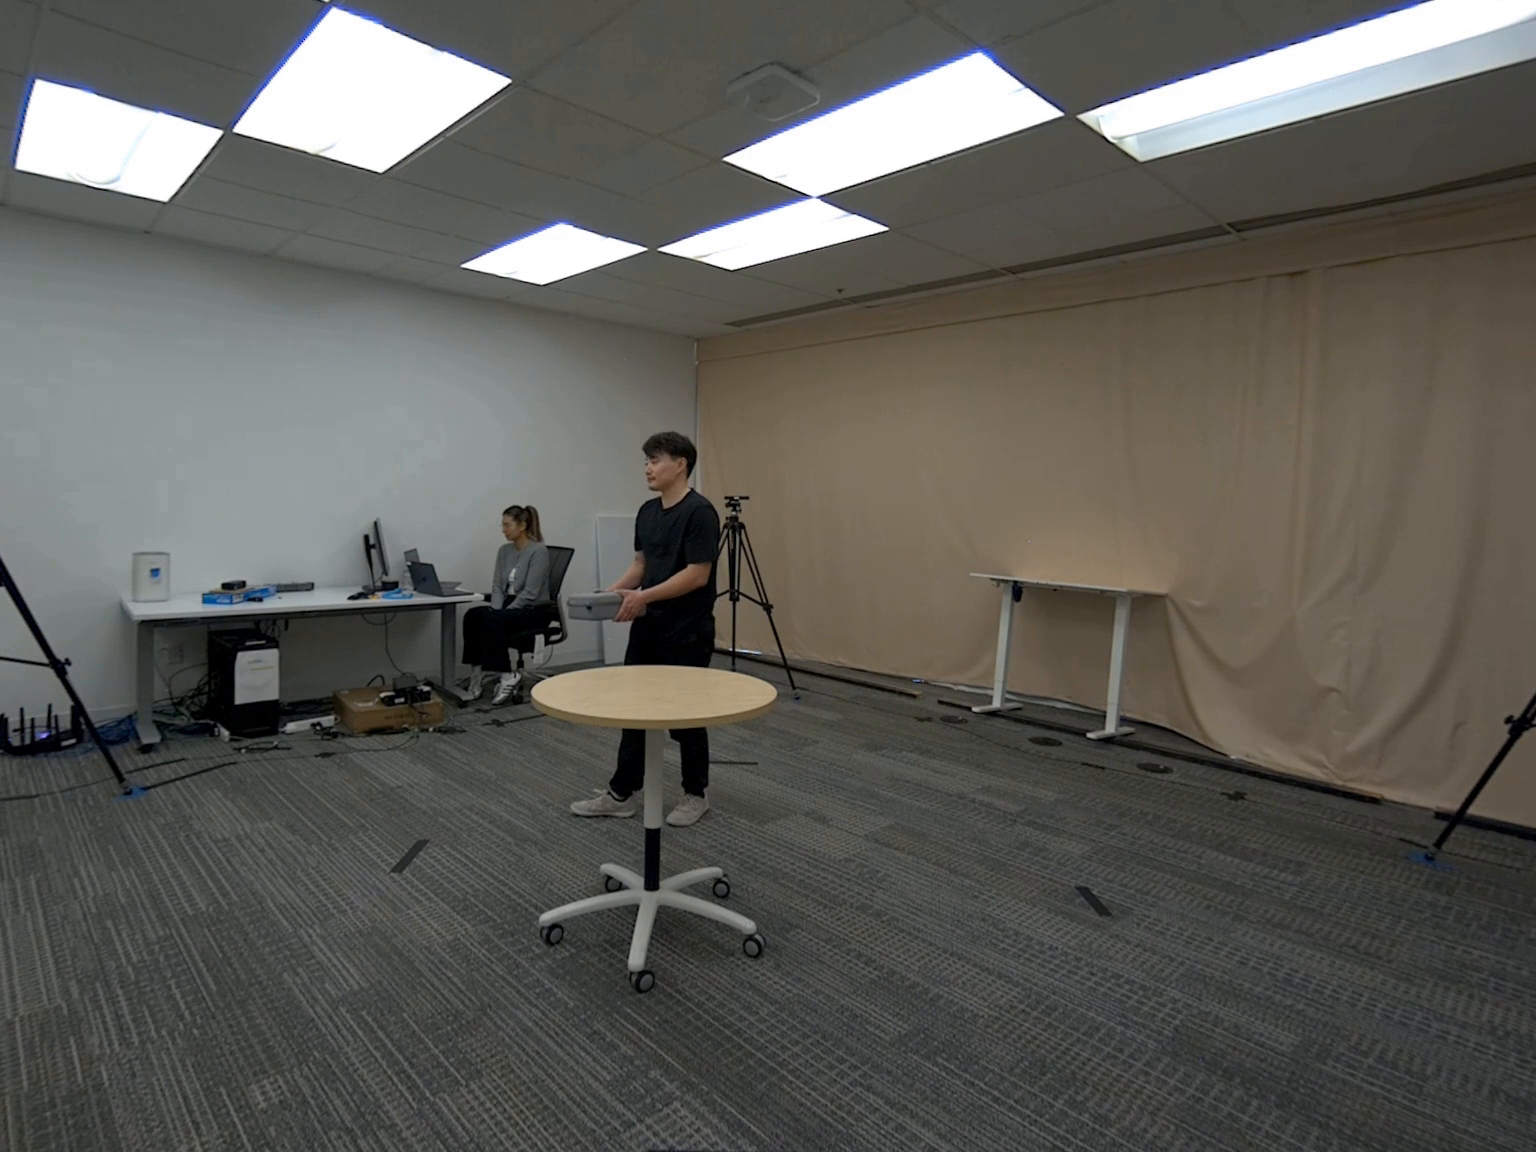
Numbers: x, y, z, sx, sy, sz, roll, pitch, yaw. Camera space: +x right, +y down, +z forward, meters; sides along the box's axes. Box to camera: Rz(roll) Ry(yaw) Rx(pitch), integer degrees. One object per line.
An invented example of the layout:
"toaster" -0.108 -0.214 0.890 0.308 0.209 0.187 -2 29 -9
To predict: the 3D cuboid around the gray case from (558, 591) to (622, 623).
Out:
"gray case" -0.678 0.121 3.451 0.255 0.104 0.263 -2 1 -40
